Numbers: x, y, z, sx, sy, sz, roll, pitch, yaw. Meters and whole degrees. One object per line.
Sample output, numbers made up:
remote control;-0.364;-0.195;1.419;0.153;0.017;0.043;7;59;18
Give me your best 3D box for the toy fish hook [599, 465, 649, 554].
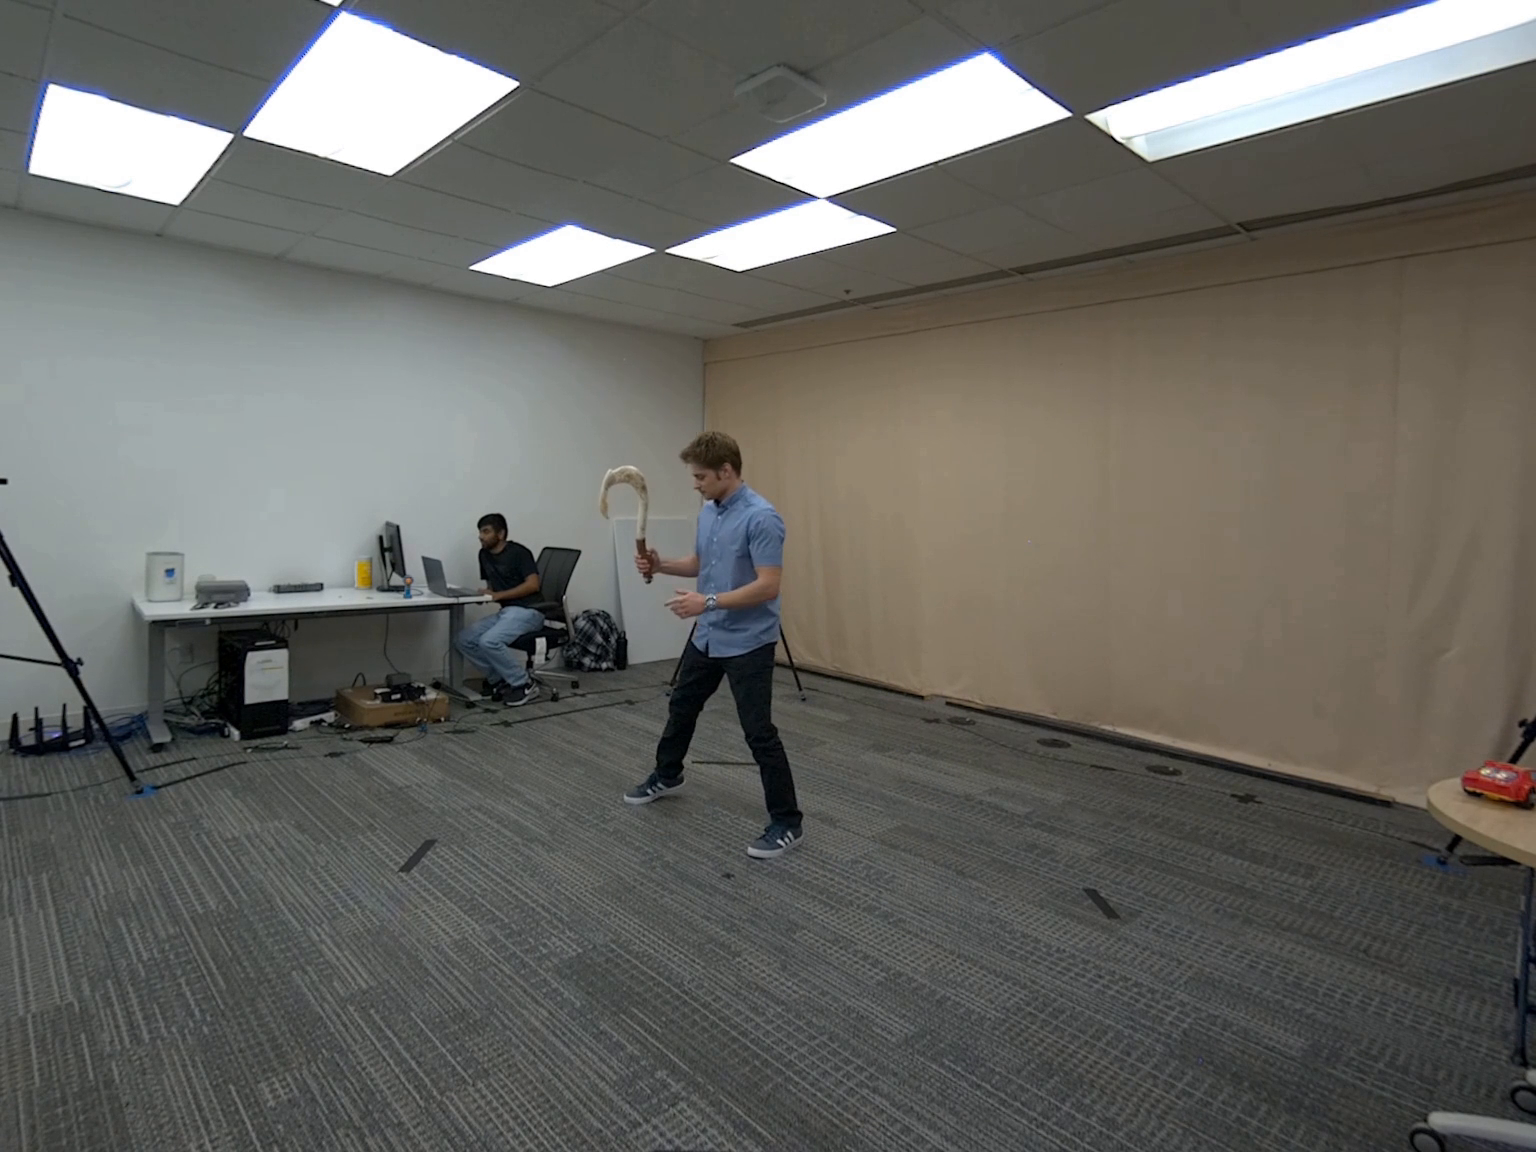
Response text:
toy fish hook;-0.576;-0.190;3.457;0.221;0.501;0.049;-15;16;-28
